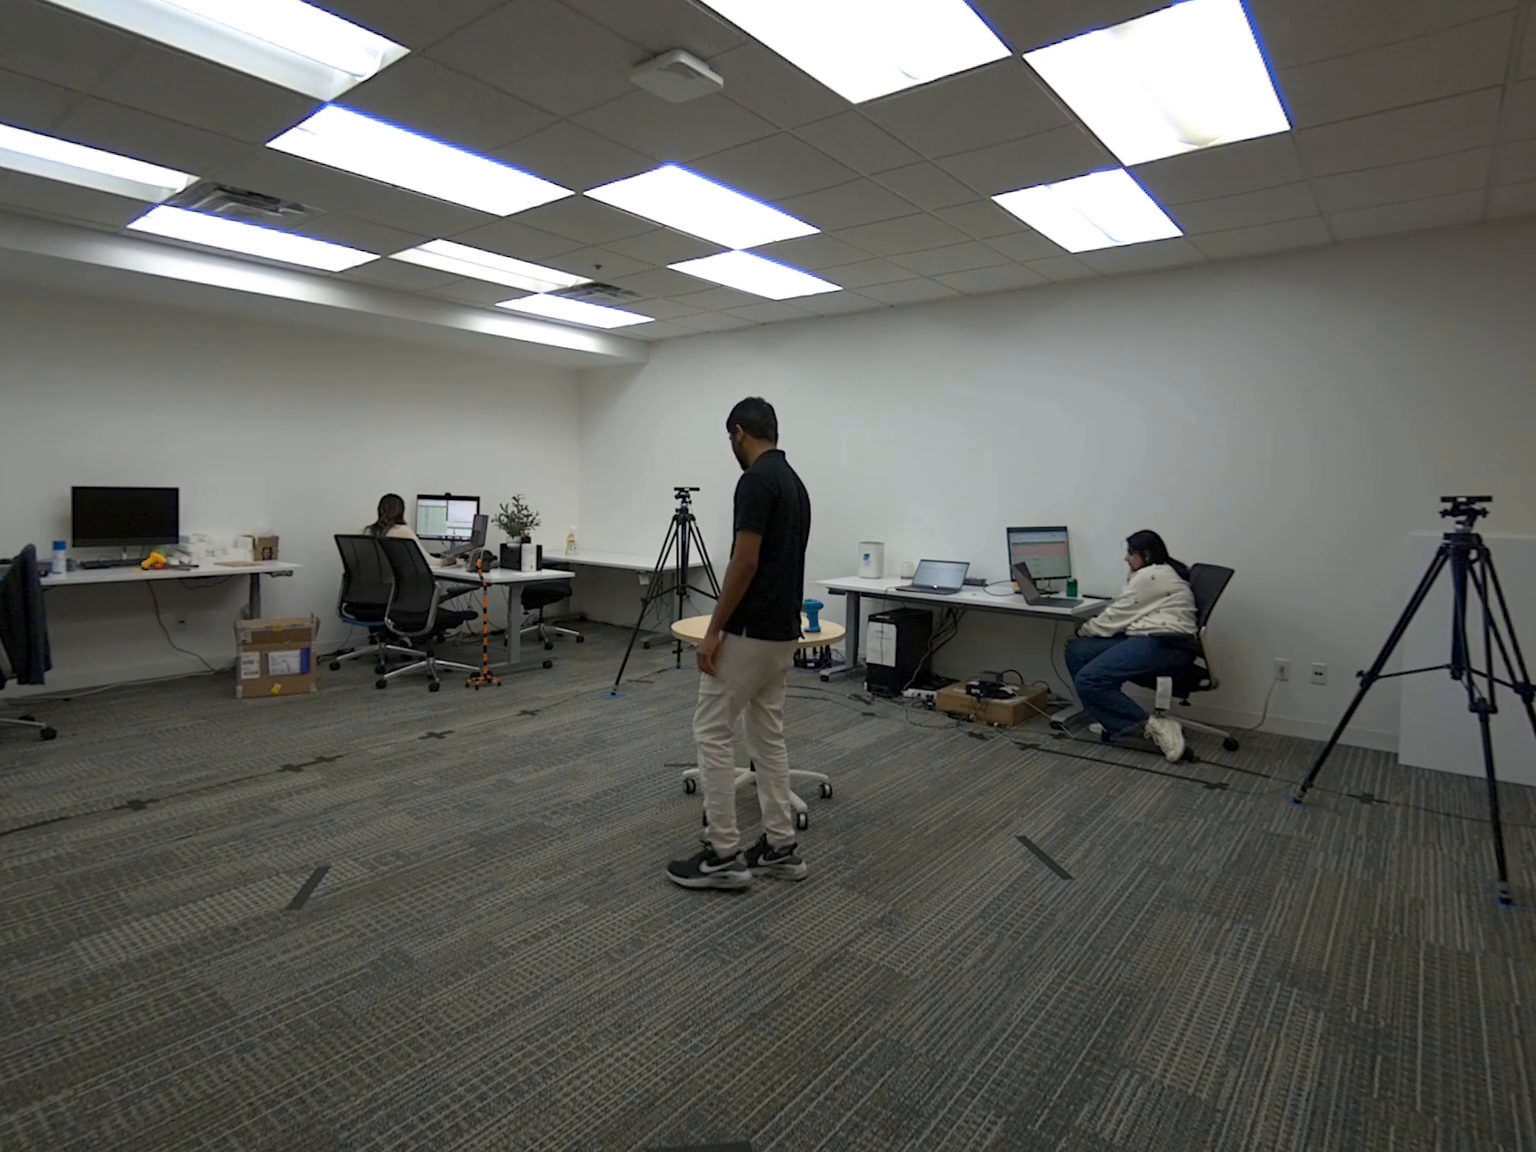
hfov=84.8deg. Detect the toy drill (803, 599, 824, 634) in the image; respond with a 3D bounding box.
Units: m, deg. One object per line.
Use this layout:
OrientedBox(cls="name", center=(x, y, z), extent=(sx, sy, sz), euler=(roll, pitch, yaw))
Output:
OrientedBox(cls="toy drill", center=(0.142, 0.163, 3.639), extent=(0.167, 0.145, 0.062), euler=(0, 4, -14))
